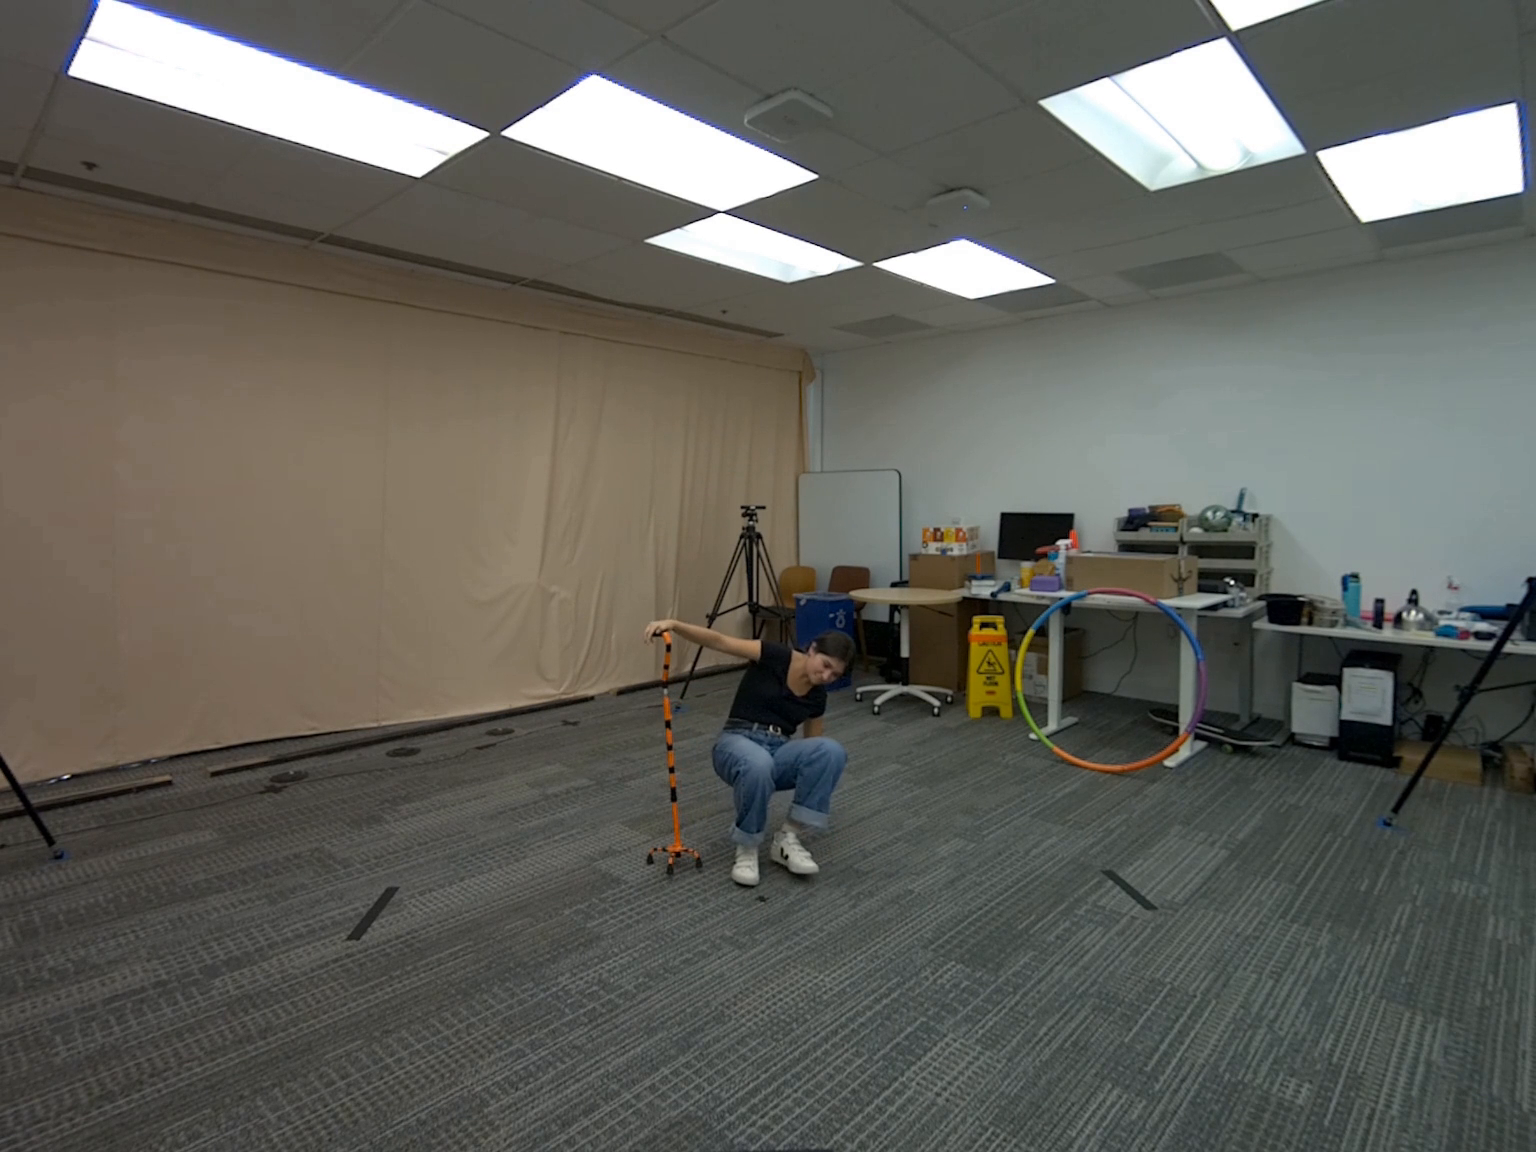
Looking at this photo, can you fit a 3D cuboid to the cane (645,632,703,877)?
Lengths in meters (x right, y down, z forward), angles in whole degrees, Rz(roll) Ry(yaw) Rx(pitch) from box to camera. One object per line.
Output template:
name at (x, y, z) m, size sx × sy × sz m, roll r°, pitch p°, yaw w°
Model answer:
cane at (-0.387, 0.668, 3.268) m, size 0.147 × 0.909 × 0.212 m, roll -3°, pitch -3°, yaw -32°
